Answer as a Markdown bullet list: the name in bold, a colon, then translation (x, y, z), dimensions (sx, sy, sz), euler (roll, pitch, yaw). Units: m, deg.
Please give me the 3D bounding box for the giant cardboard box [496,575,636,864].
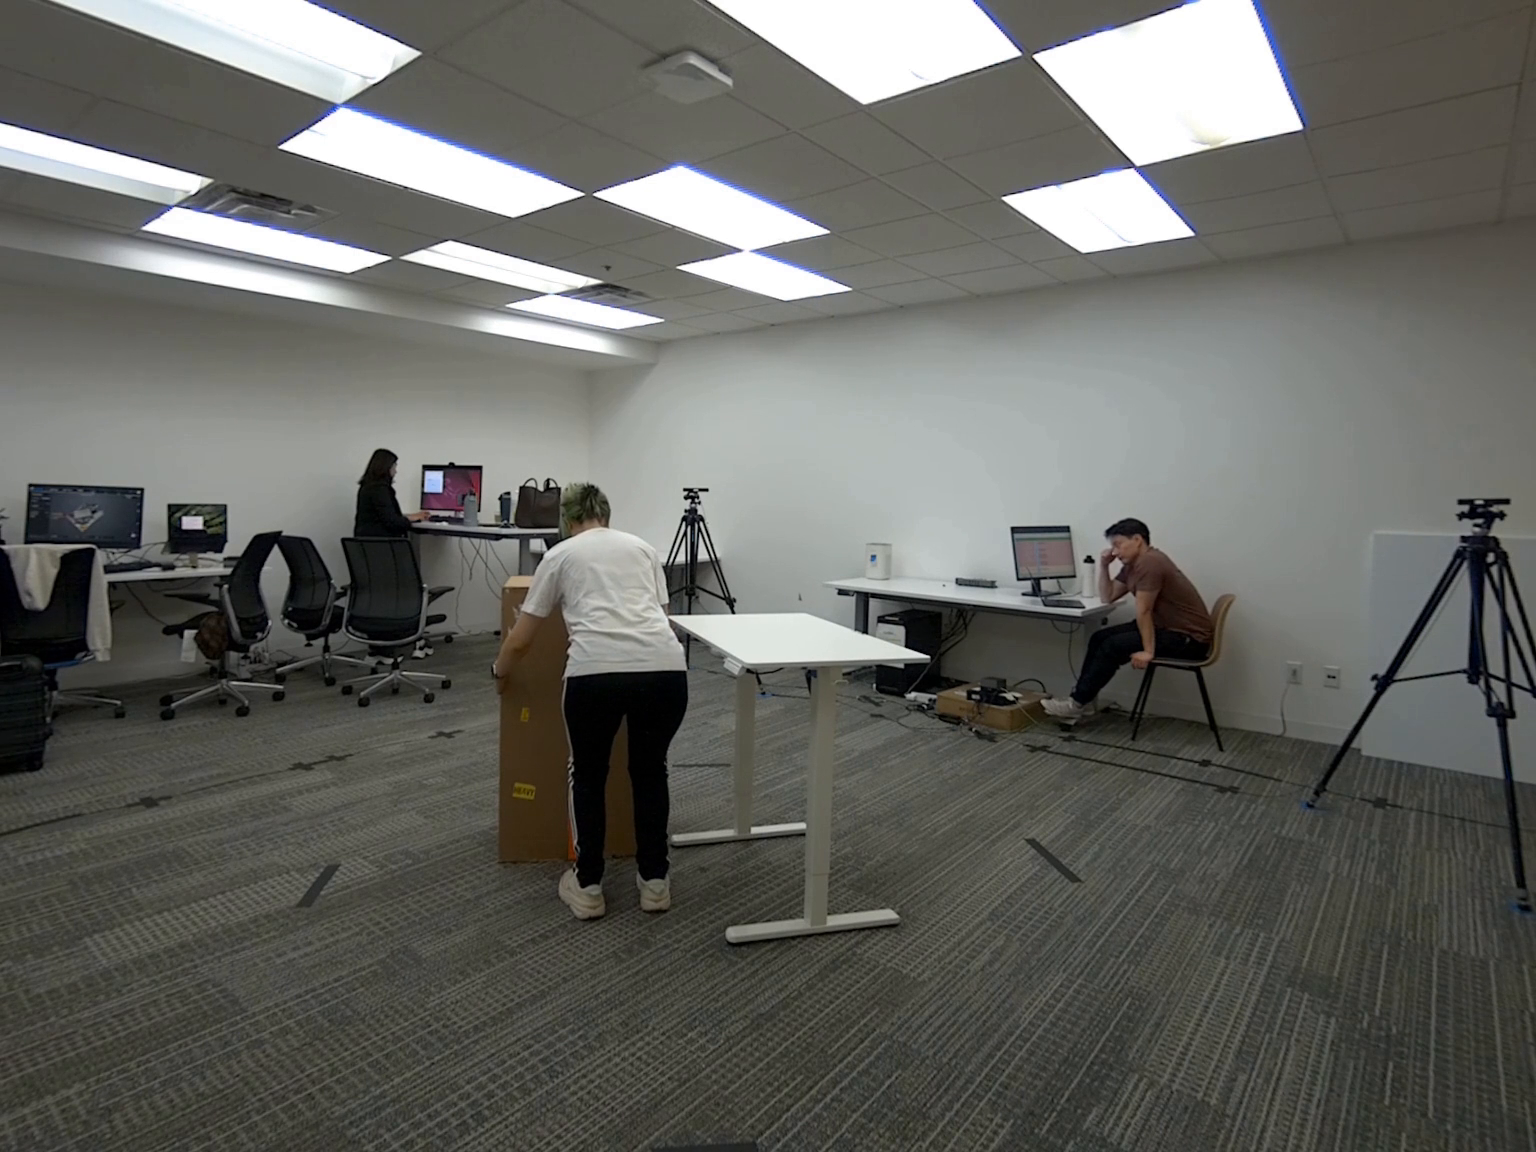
- **giant cardboard box**: translation (-0.760, 0.531, 3.351), dimensions (0.577, 1.025, 0.453), euler (1, 2, -12)
